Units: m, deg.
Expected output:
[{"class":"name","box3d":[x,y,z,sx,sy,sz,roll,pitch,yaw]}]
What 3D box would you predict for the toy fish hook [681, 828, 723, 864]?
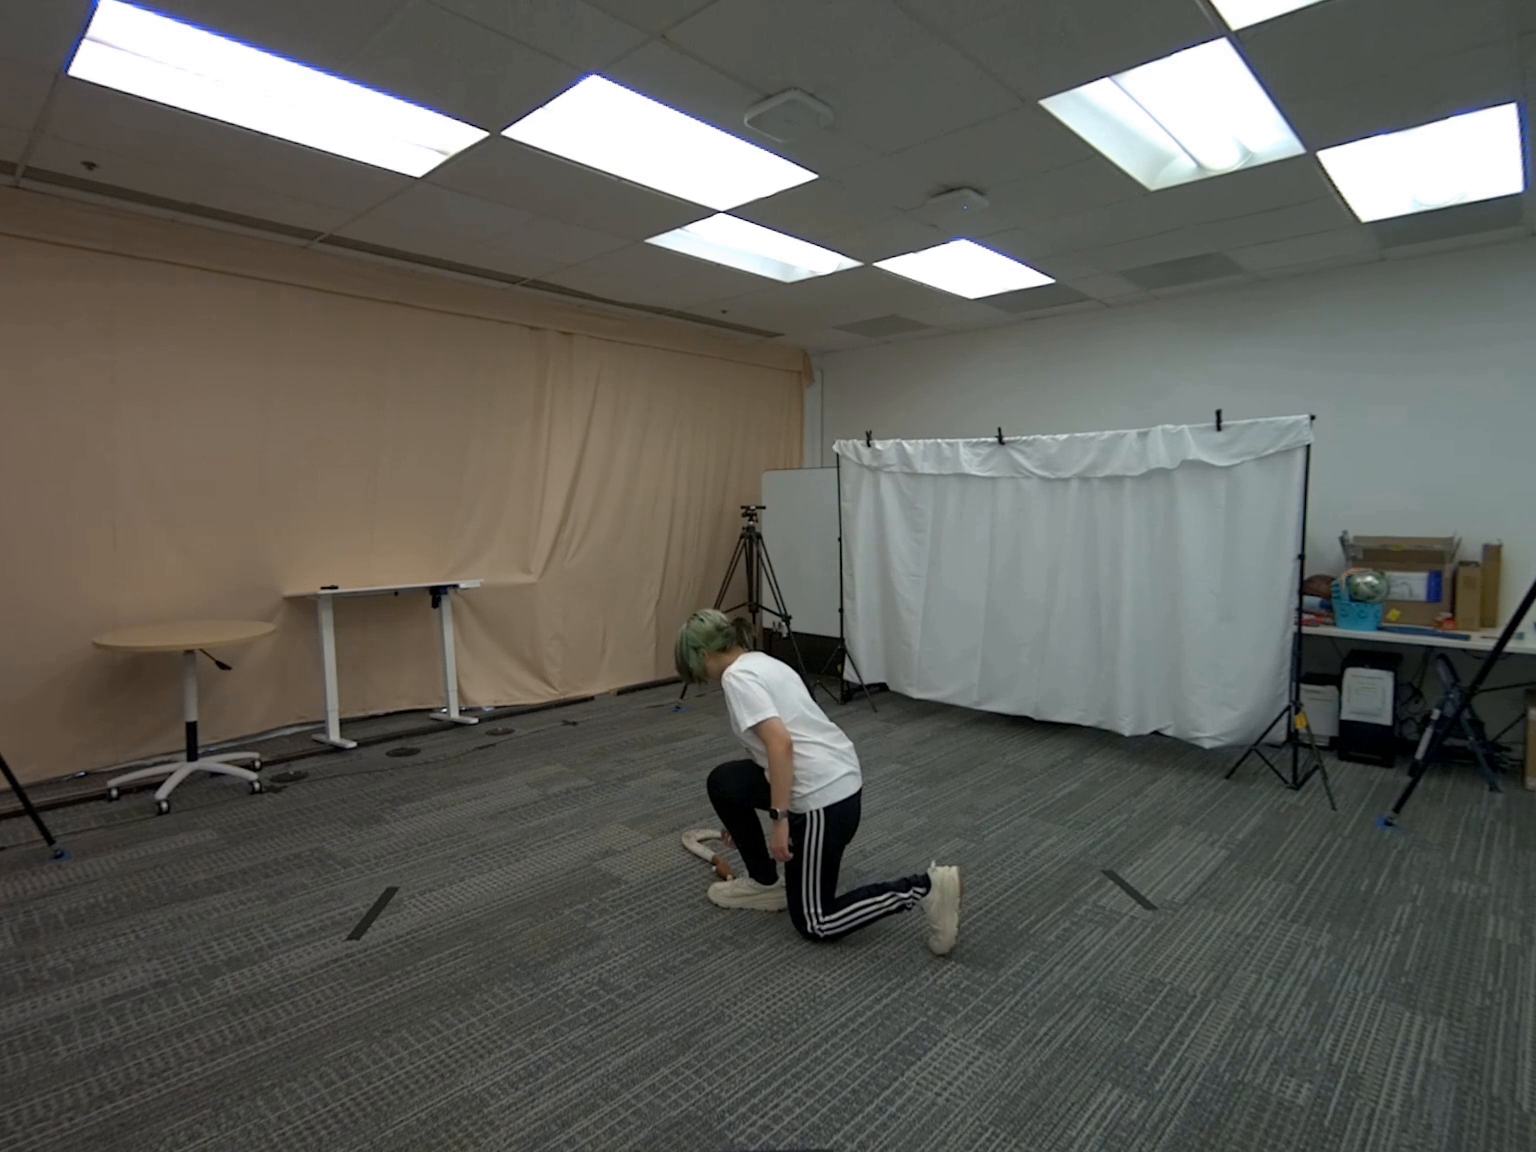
[{"class":"toy fish hook","box3d":[-0.179,1.090,3.322,0.220,0.048,0.519,-4,6,-23]}]
